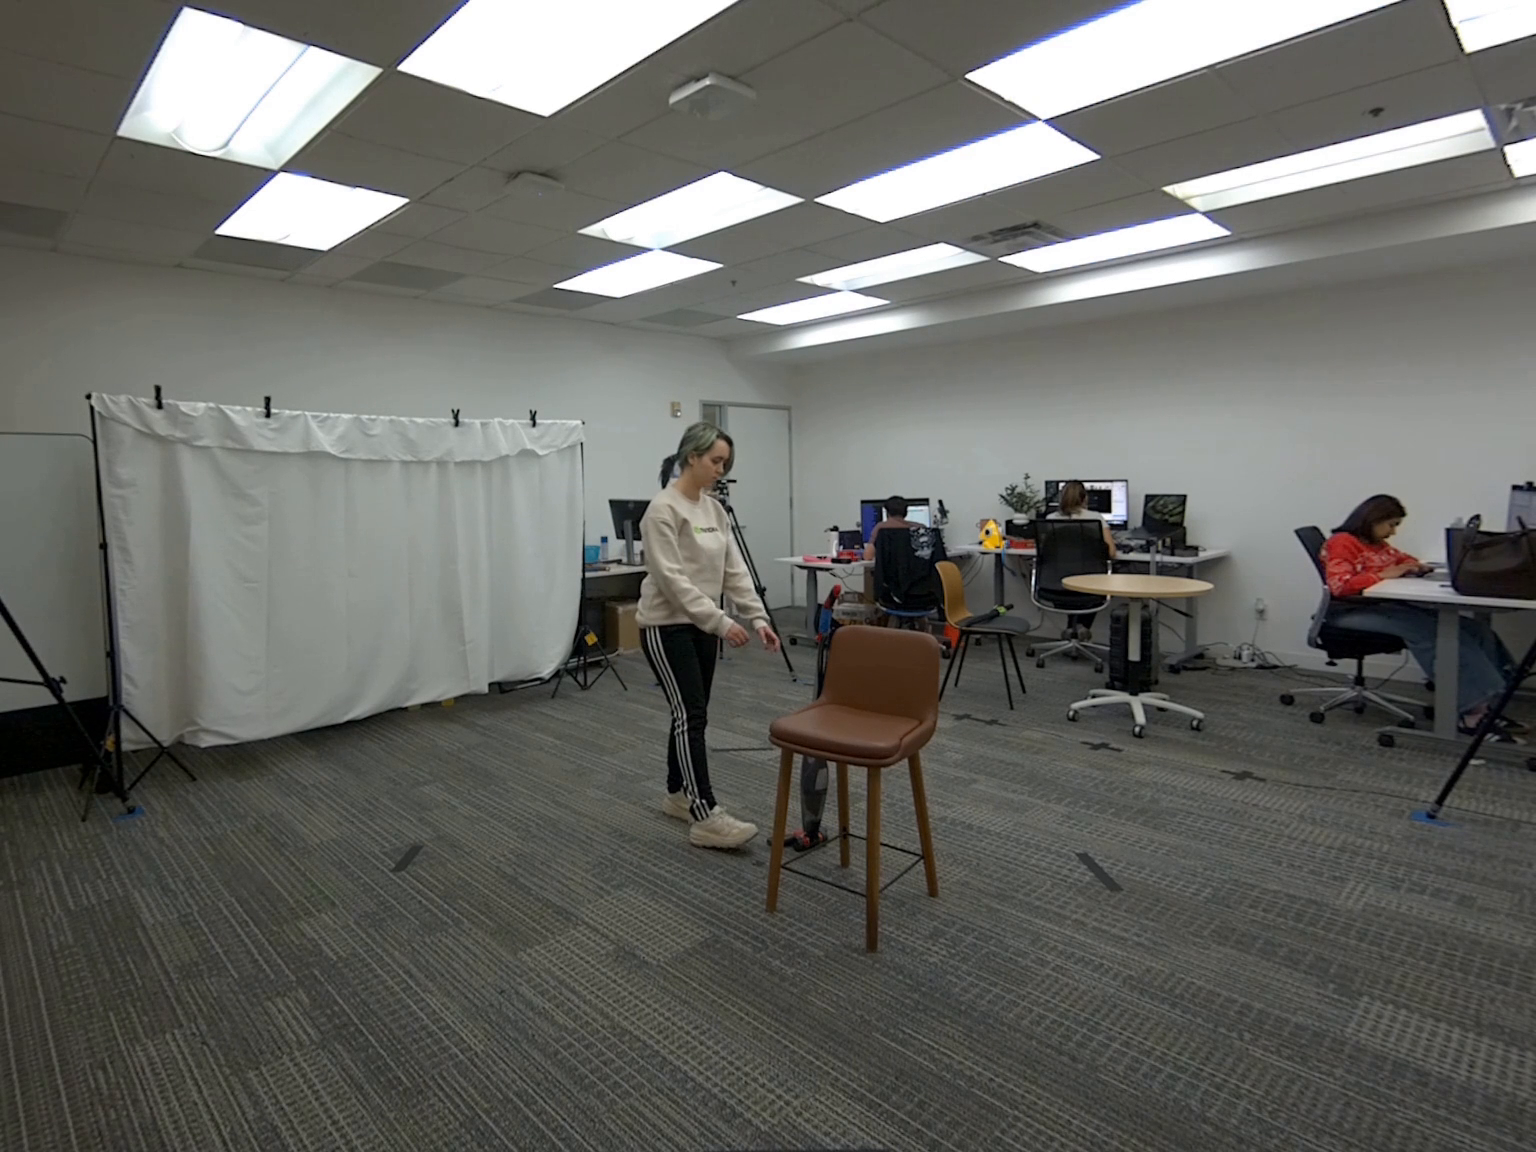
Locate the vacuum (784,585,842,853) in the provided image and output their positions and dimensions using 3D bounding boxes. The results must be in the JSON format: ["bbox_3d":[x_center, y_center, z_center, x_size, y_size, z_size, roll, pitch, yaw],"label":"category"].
[{"bbox_3d":[0.196,0.533,3.140,0.247,1.037,0.149,-2,17,-29],"label":"vacuum"}]
